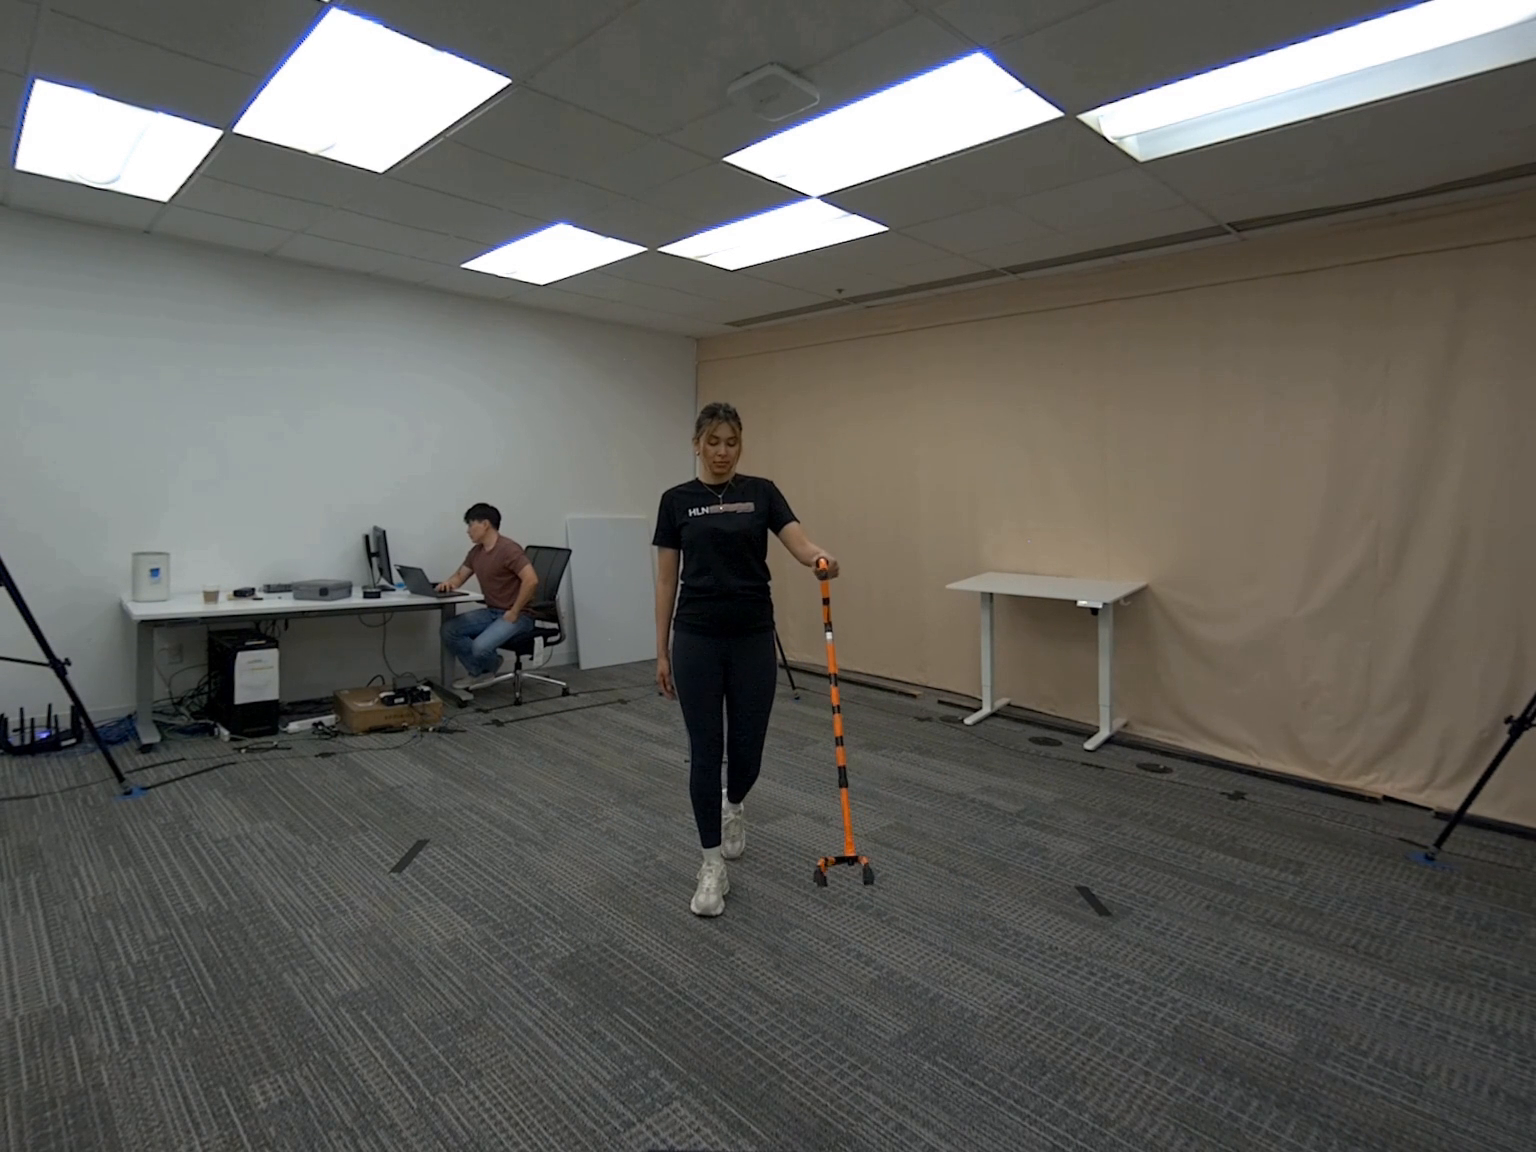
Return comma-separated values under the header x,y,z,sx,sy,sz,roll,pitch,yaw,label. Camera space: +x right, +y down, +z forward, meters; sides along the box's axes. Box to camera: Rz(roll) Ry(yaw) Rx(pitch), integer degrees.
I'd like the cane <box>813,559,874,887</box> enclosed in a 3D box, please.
x,y,z,sx,sy,sz,roll,pitch,yaw,label
0.165,0.396,2.343,0.152,0.924,0.202,-5,-24,3,cane
